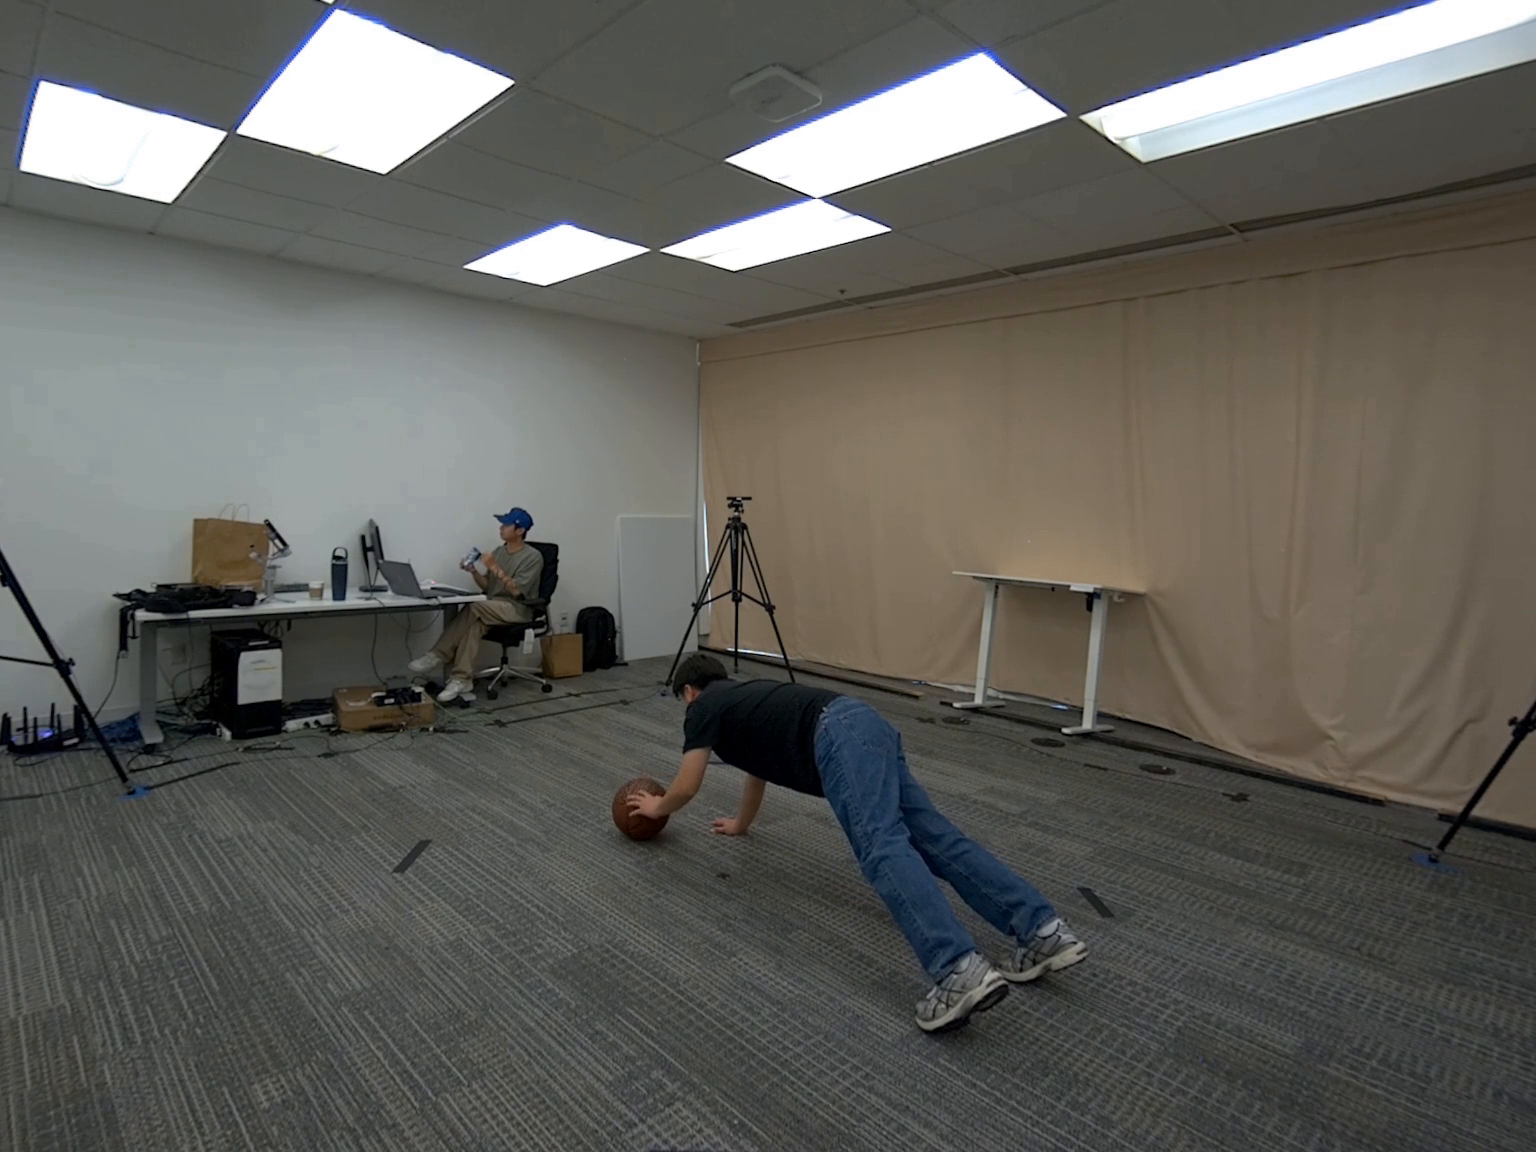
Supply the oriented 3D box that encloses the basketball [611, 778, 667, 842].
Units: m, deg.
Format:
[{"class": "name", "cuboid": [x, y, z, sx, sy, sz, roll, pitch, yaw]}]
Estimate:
[{"class": "basketball", "cuboid": [-0.522, 0.949, 3.428, 0.236, 0.235, 0.237, 1, 4, -1]}]
